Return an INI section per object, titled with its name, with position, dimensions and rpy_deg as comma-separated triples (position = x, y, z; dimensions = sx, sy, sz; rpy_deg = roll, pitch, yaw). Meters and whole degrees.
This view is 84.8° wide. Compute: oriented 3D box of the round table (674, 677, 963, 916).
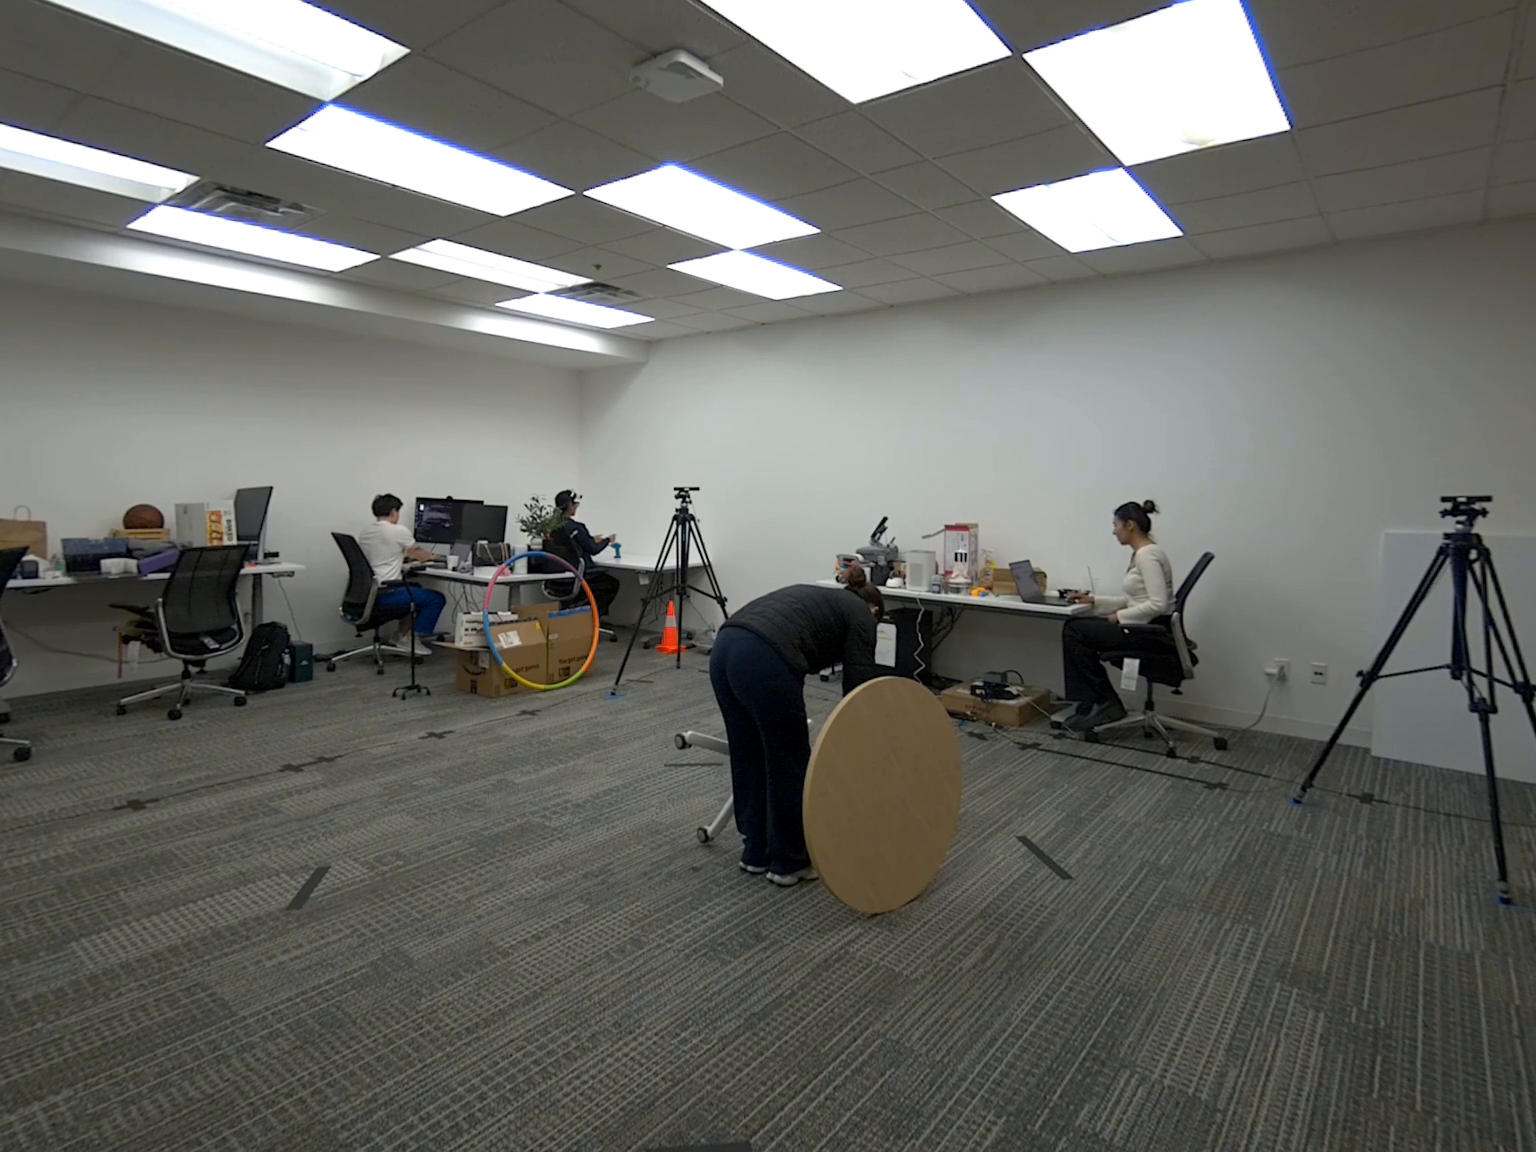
[round table]
position = 0.162, 0.725, 3.159
dimensions = 0.762, 0.786, 0.810
rpy_deg = -3, 0, -40
